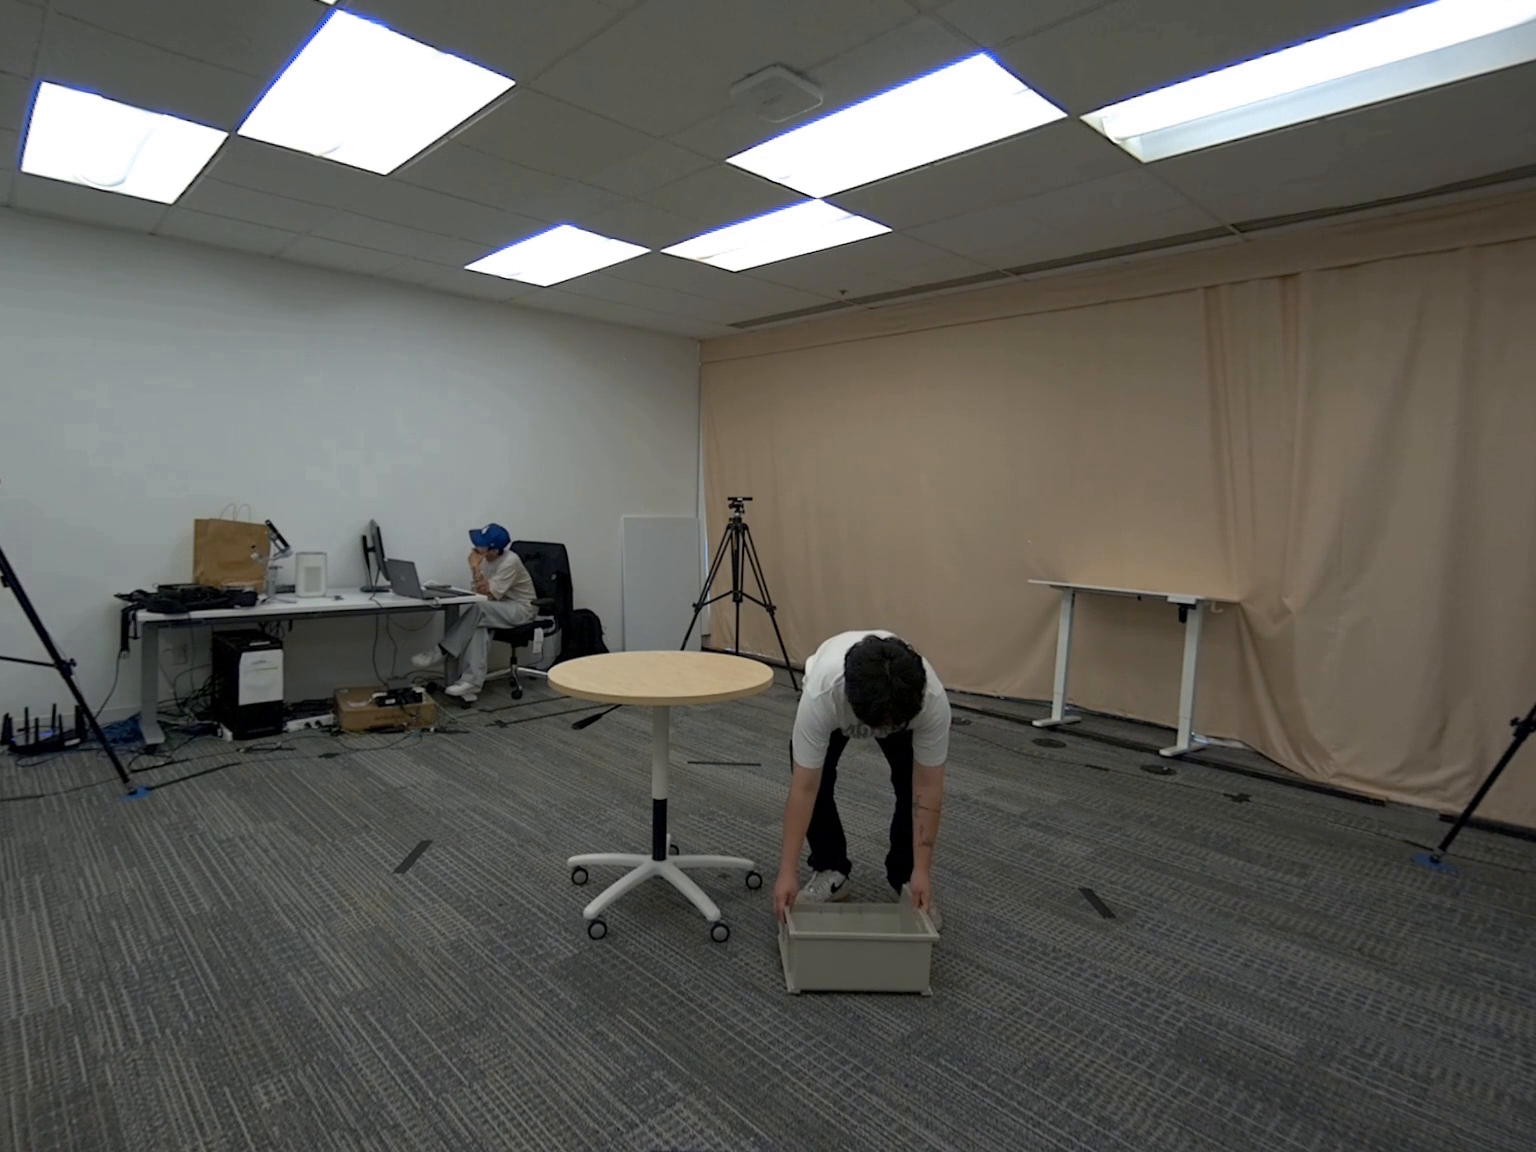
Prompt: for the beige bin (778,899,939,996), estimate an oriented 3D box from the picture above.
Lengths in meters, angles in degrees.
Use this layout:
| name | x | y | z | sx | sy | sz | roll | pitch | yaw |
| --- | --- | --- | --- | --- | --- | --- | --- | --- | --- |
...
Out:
| name | x | y | z | sx | sy | sz | roll | pitch | yaw |
| --- | --- | --- | --- | --- | --- | --- | --- | --- | --- |
| beige bin | 0.246 | 1.066 | 2.539 | 0.421 | 0.188 | 0.379 | 2 | 5 | -4 |
